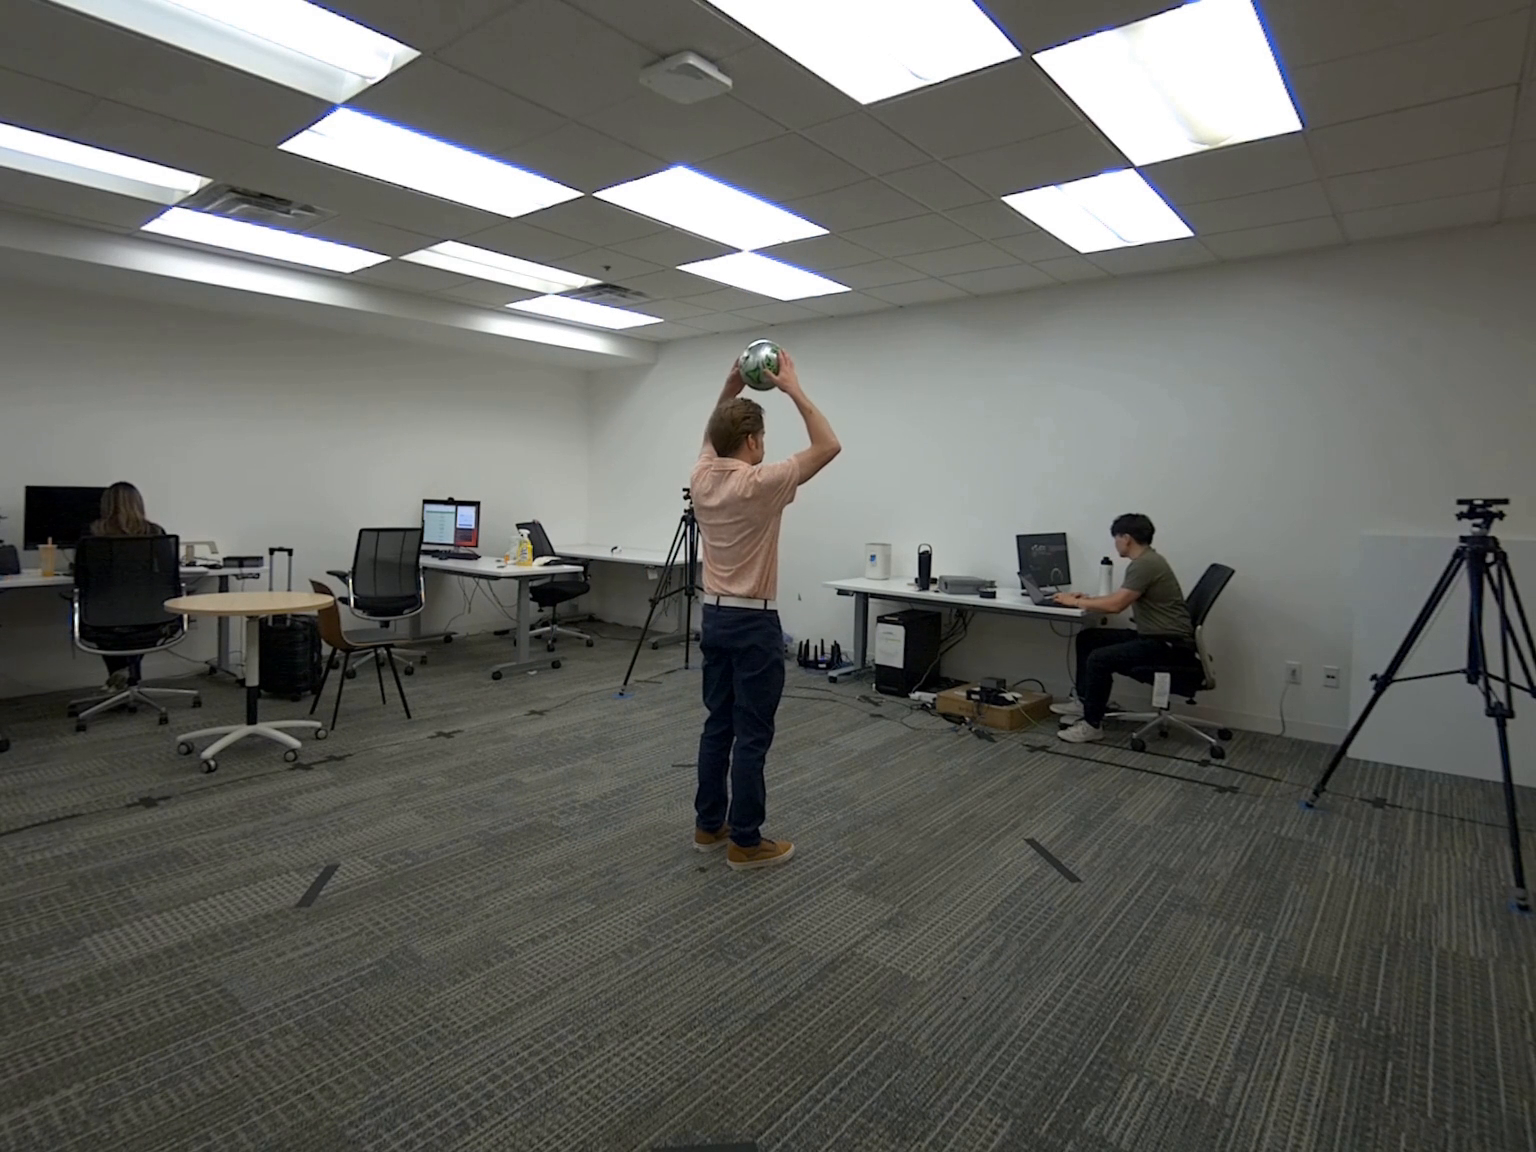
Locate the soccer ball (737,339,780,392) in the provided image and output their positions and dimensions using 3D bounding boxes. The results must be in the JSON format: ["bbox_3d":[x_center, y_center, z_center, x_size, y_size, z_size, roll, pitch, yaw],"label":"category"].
[{"bbox_3d":[-0.028,-0.797,3.236,0.187,0.187,0.188,1,4,-2],"label":"soccer ball"}]
